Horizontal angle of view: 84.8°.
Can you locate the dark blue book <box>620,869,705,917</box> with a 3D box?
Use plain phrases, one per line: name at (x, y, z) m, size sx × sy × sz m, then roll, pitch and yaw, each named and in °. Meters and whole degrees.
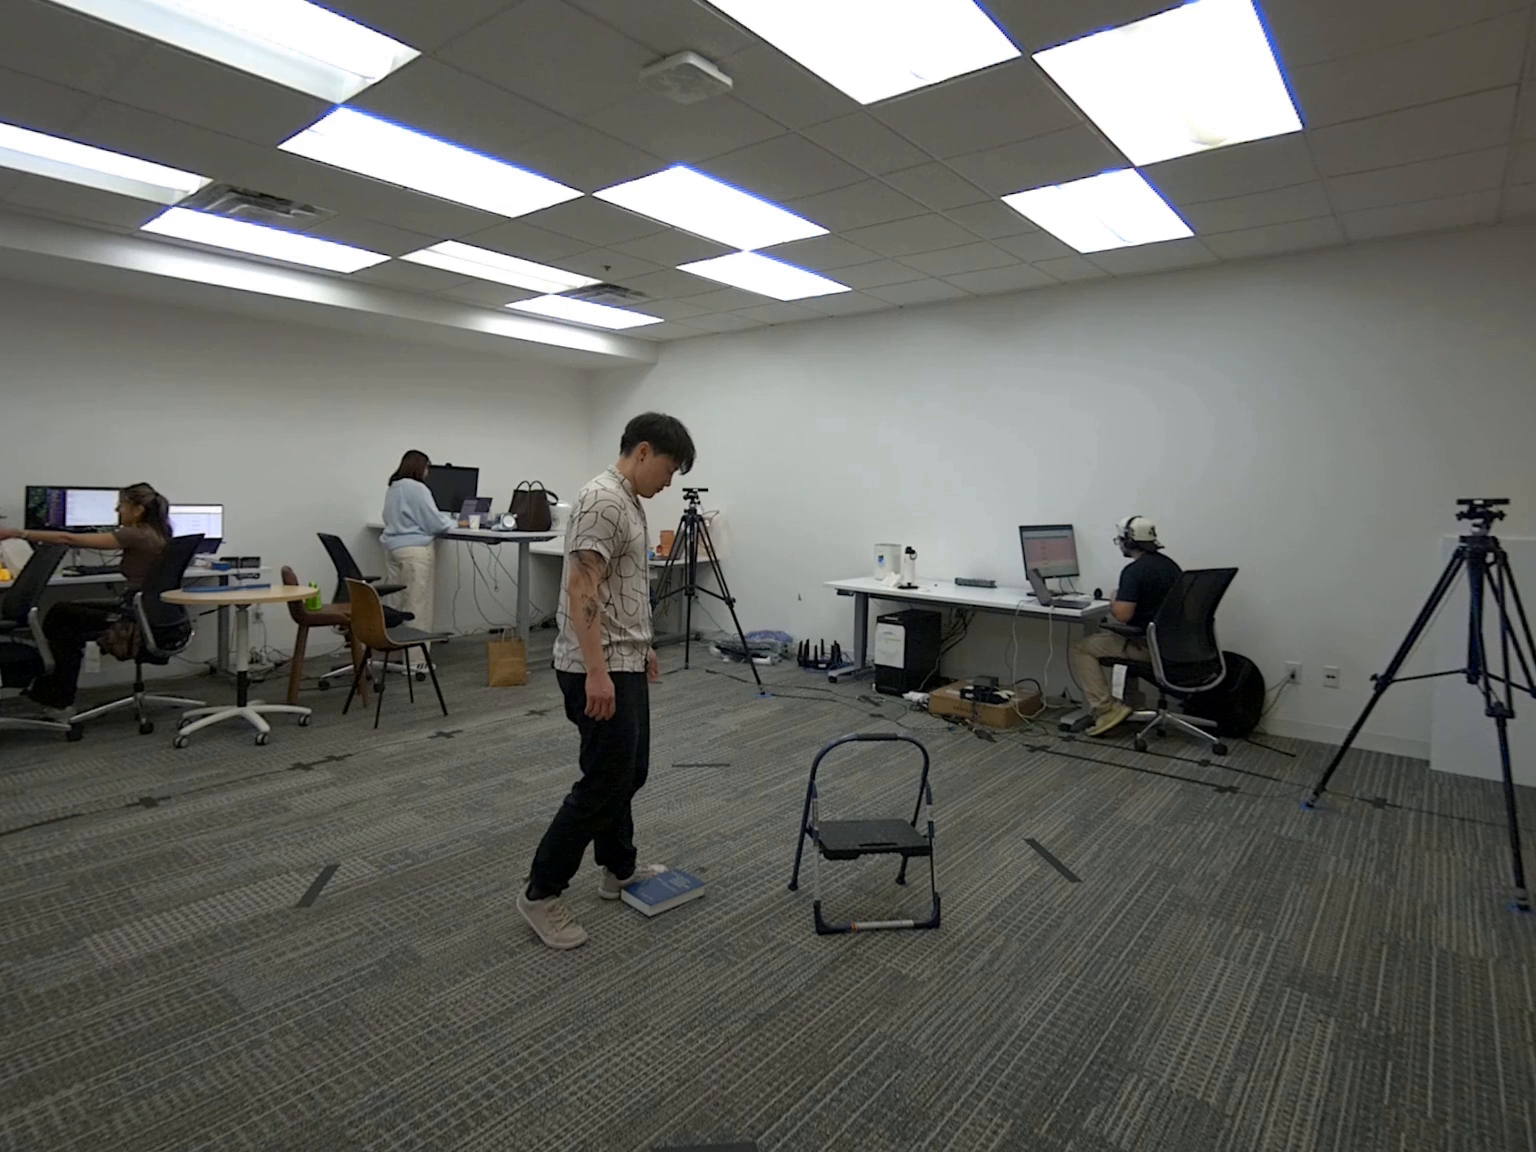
dark blue book at (-0.358, 1.065, 2.875) m, size 0.237 × 0.045 × 0.169 m, roll -3°, pitch 7°, yaw -44°
